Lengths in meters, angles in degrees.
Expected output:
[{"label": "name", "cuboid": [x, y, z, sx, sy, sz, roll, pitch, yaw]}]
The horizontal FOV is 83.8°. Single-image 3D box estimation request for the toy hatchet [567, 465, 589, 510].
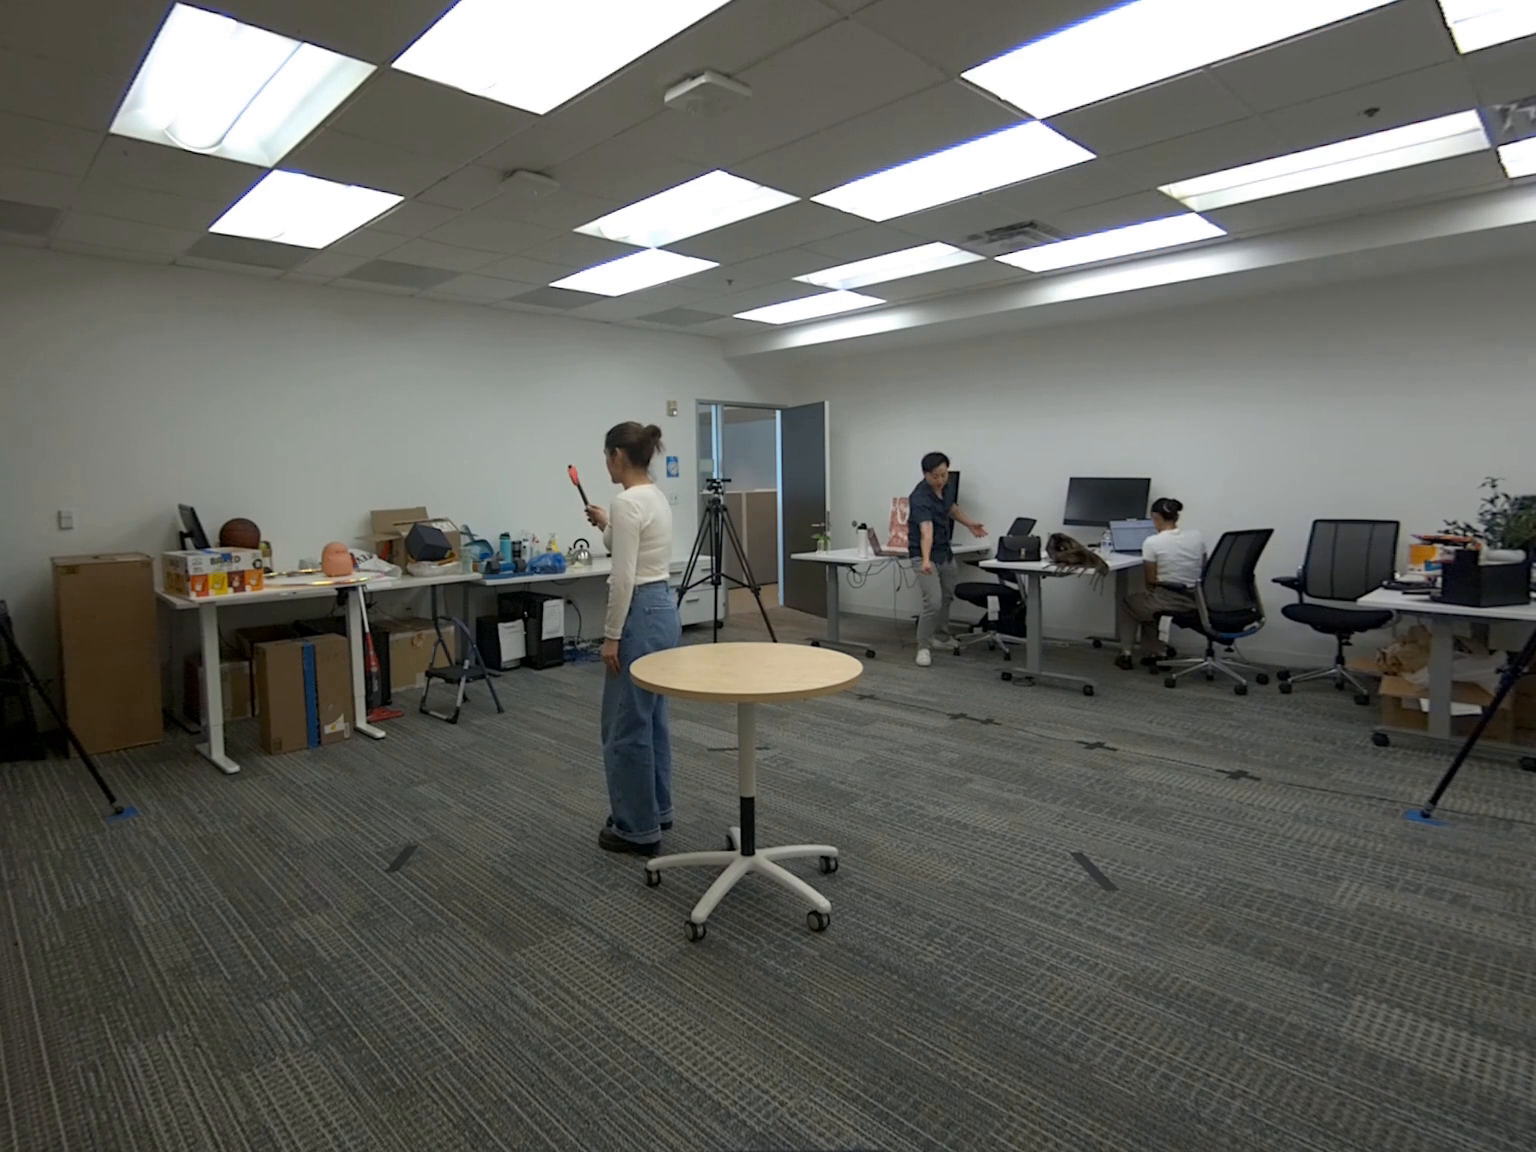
[{"label": "toy hatchet", "cuboid": [-0.779, -0.336, 3.538, 0.029, 0.271, 0.131, -18, -2, -3]}]
